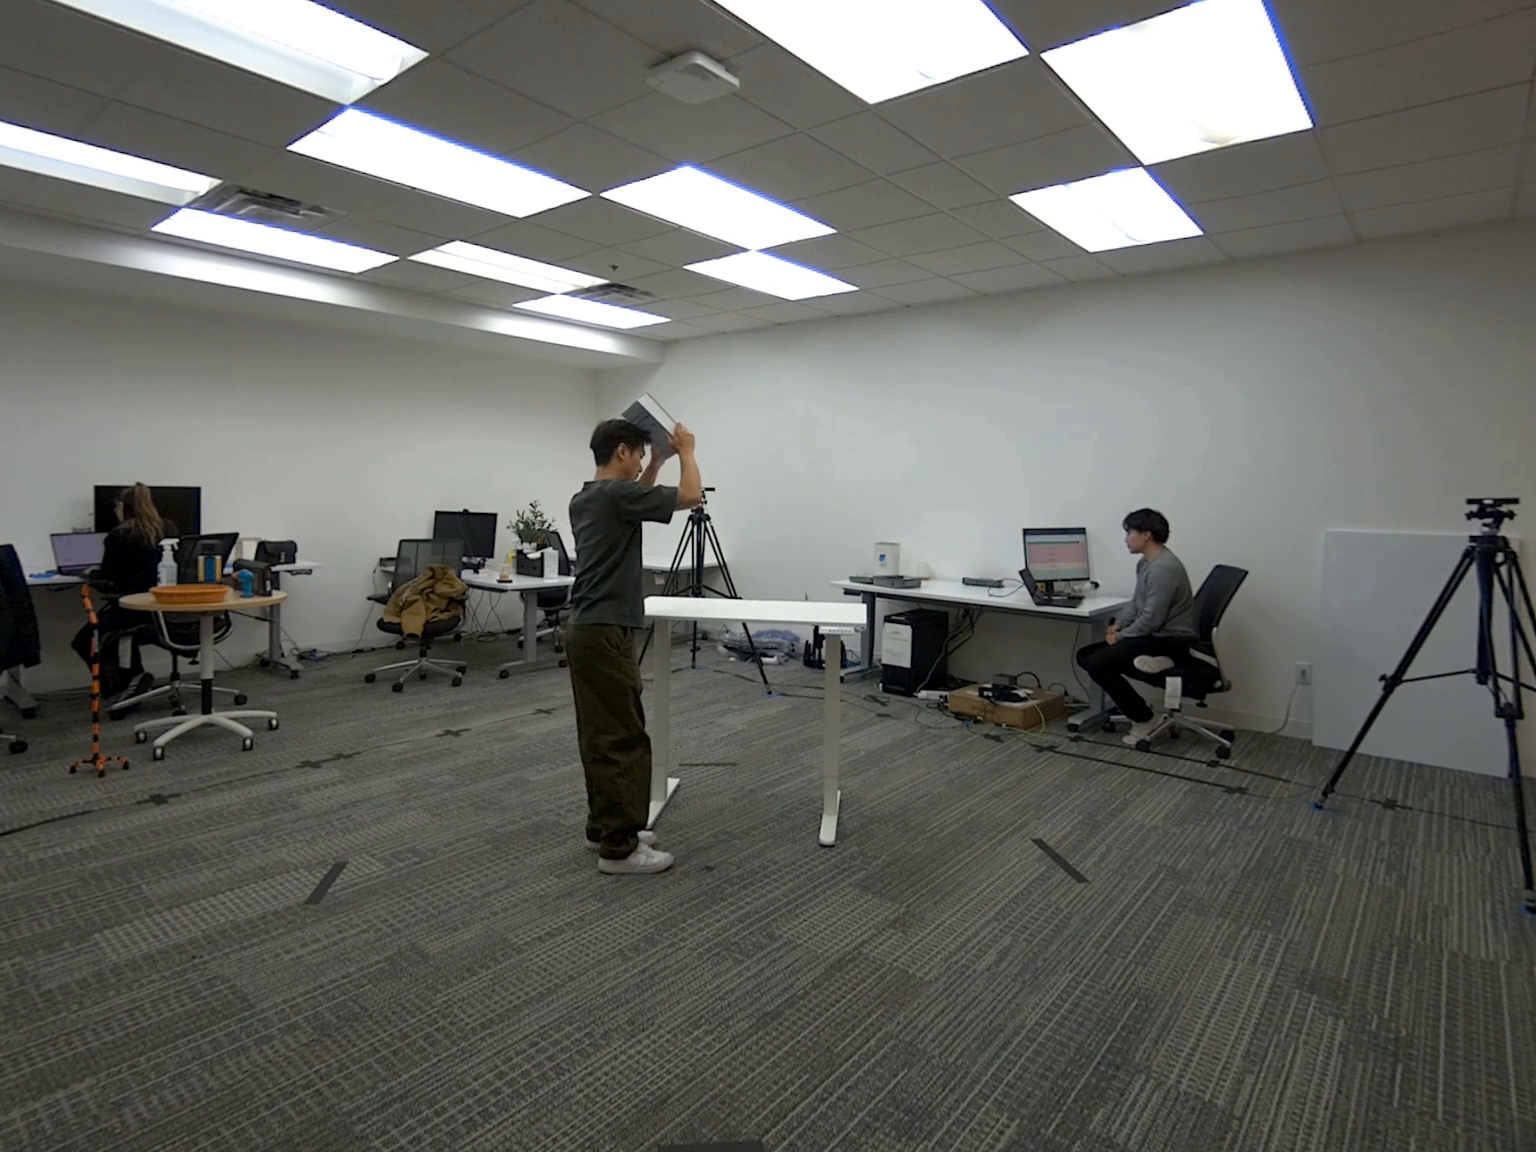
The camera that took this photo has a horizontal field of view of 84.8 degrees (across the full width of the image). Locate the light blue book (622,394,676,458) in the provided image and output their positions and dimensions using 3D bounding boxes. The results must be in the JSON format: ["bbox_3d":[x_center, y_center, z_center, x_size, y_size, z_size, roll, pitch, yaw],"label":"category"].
[{"bbox_3d":[-0.458,-0.588,3.389,0.059,0.256,0.195,-50,16,-27],"label":"light blue book"}]
